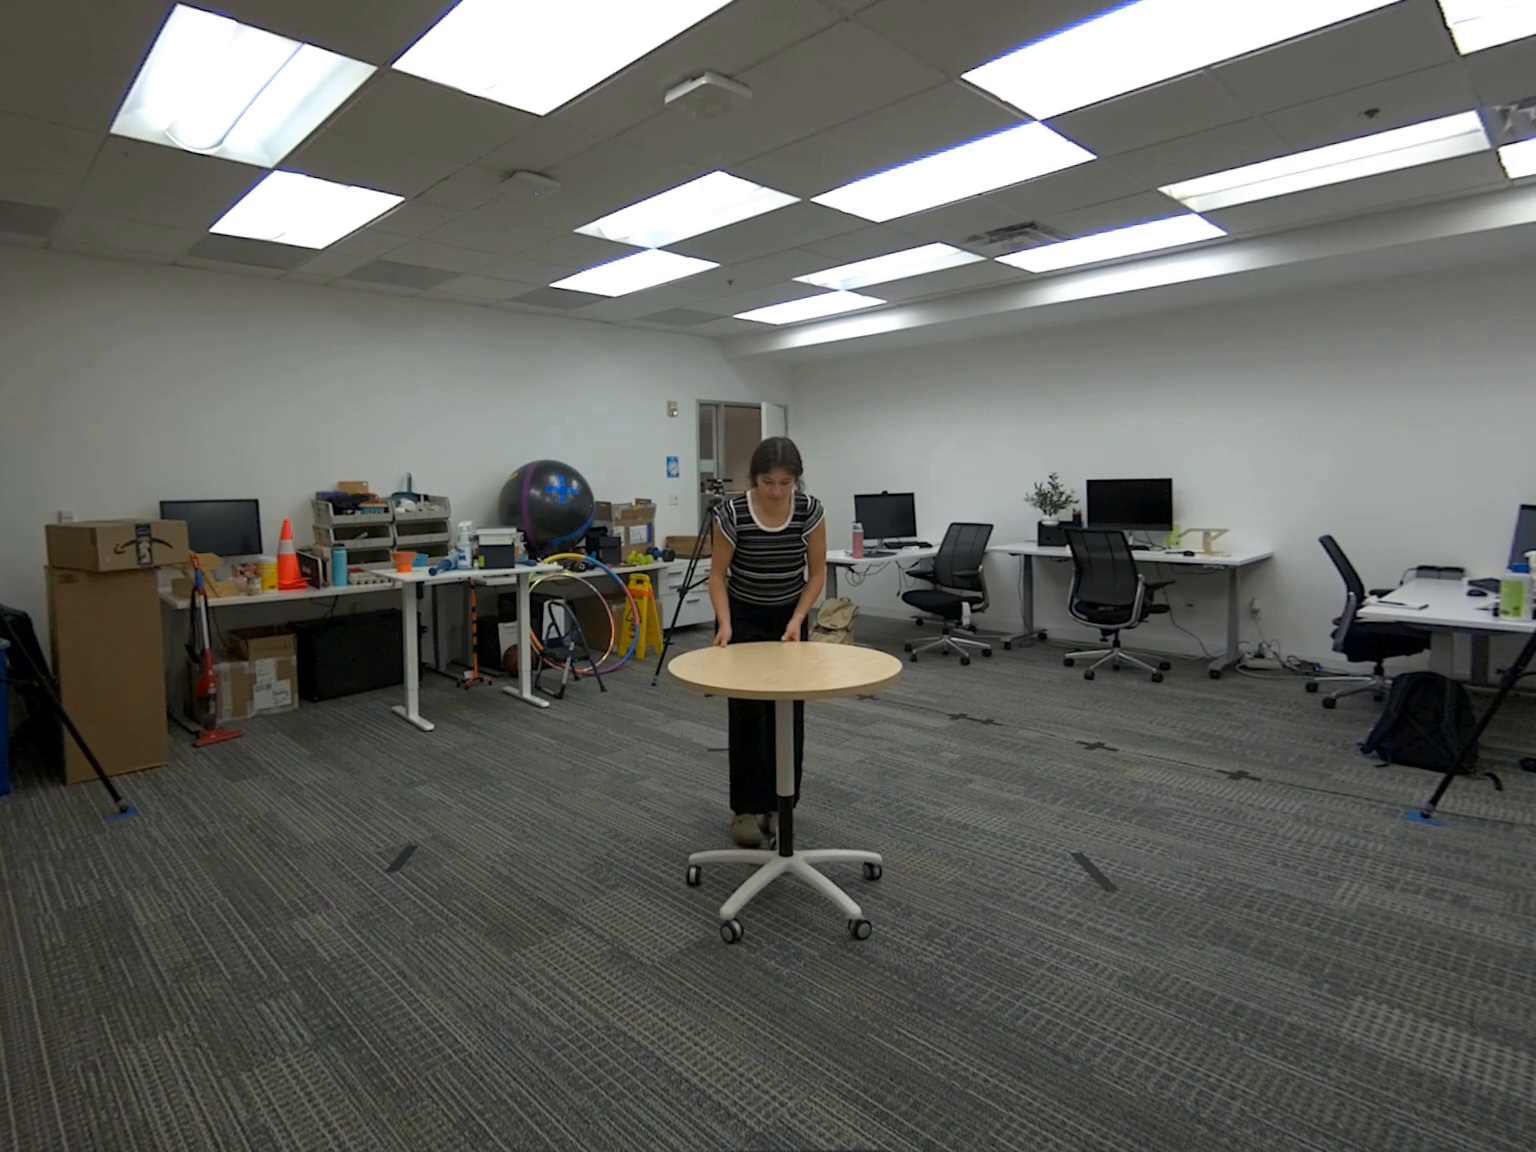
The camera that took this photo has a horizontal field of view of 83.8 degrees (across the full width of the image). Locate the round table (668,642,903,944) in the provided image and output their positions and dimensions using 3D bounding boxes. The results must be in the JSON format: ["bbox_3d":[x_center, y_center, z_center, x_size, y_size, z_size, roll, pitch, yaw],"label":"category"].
[{"bbox_3d":[0.075,0.683,2.837,0.784,0.784,0.789,-1,4,-2],"label":"round table"}]
